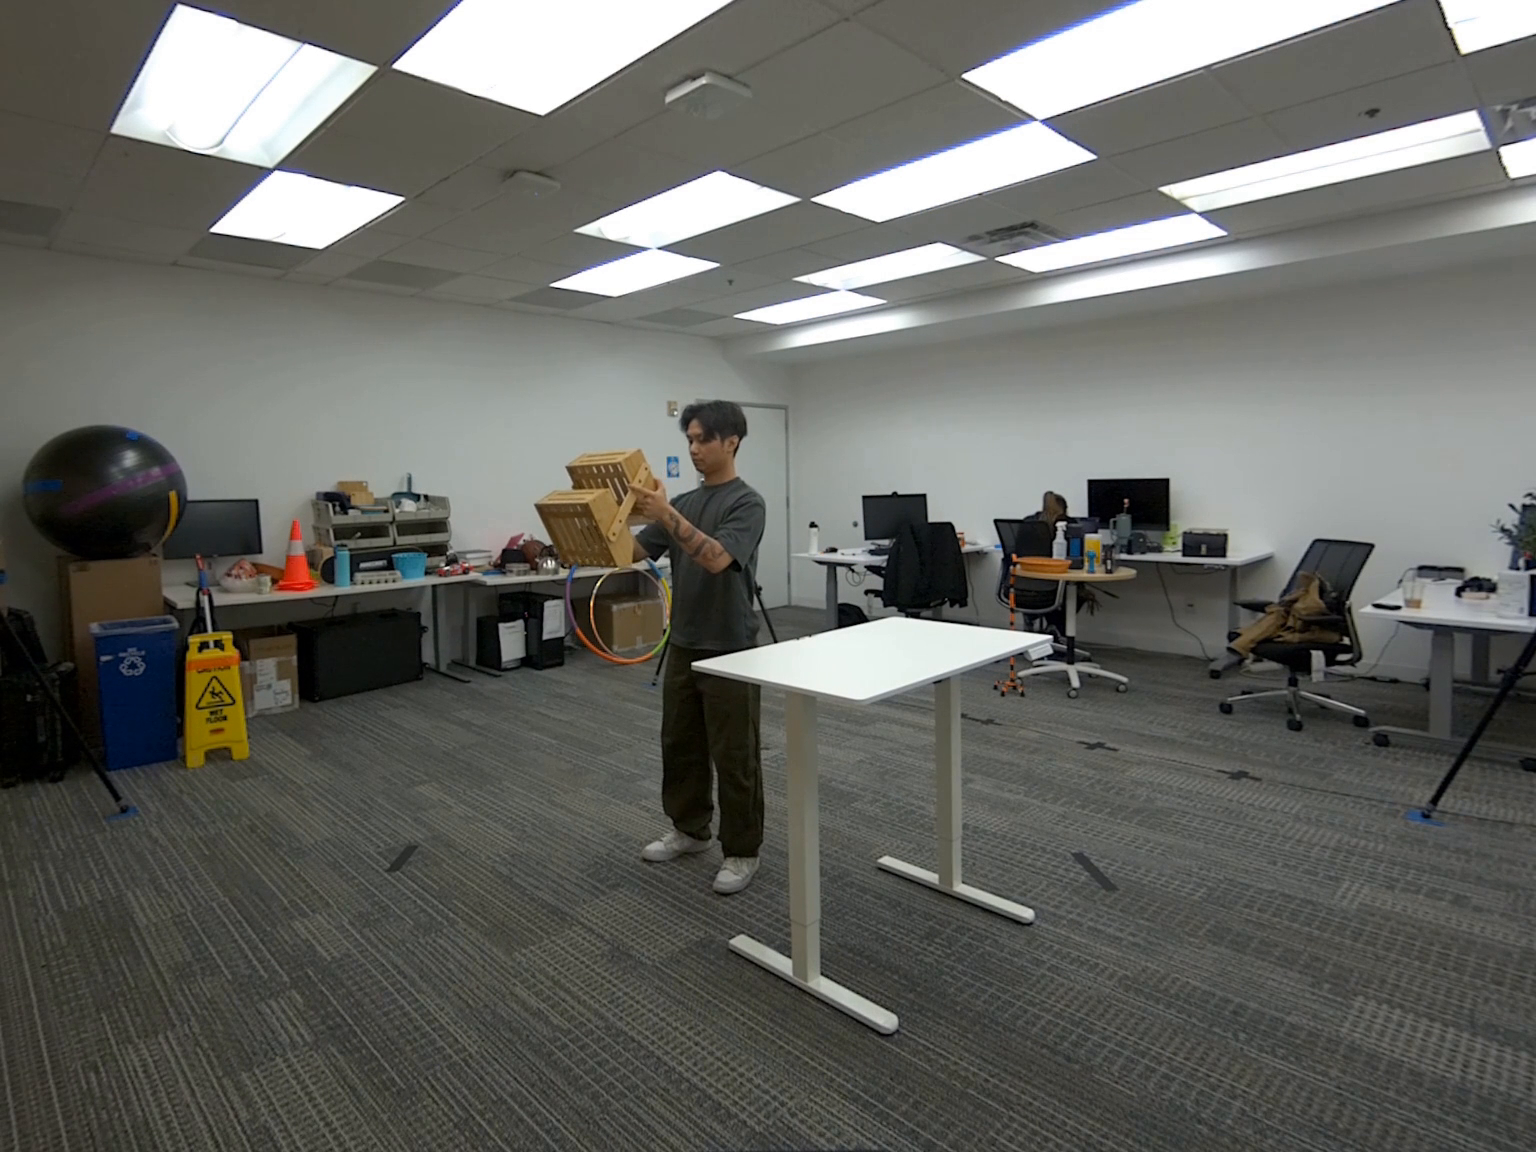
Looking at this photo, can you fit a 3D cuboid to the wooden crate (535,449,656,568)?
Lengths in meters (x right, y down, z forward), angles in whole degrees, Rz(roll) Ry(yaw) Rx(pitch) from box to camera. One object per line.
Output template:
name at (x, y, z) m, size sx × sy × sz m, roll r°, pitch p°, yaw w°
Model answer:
wooden crate at (-0.526, -0.206, 2.749) m, size 0.334 × 0.294 × 0.272 m, roll 2°, pitch 33°, yaw 45°
